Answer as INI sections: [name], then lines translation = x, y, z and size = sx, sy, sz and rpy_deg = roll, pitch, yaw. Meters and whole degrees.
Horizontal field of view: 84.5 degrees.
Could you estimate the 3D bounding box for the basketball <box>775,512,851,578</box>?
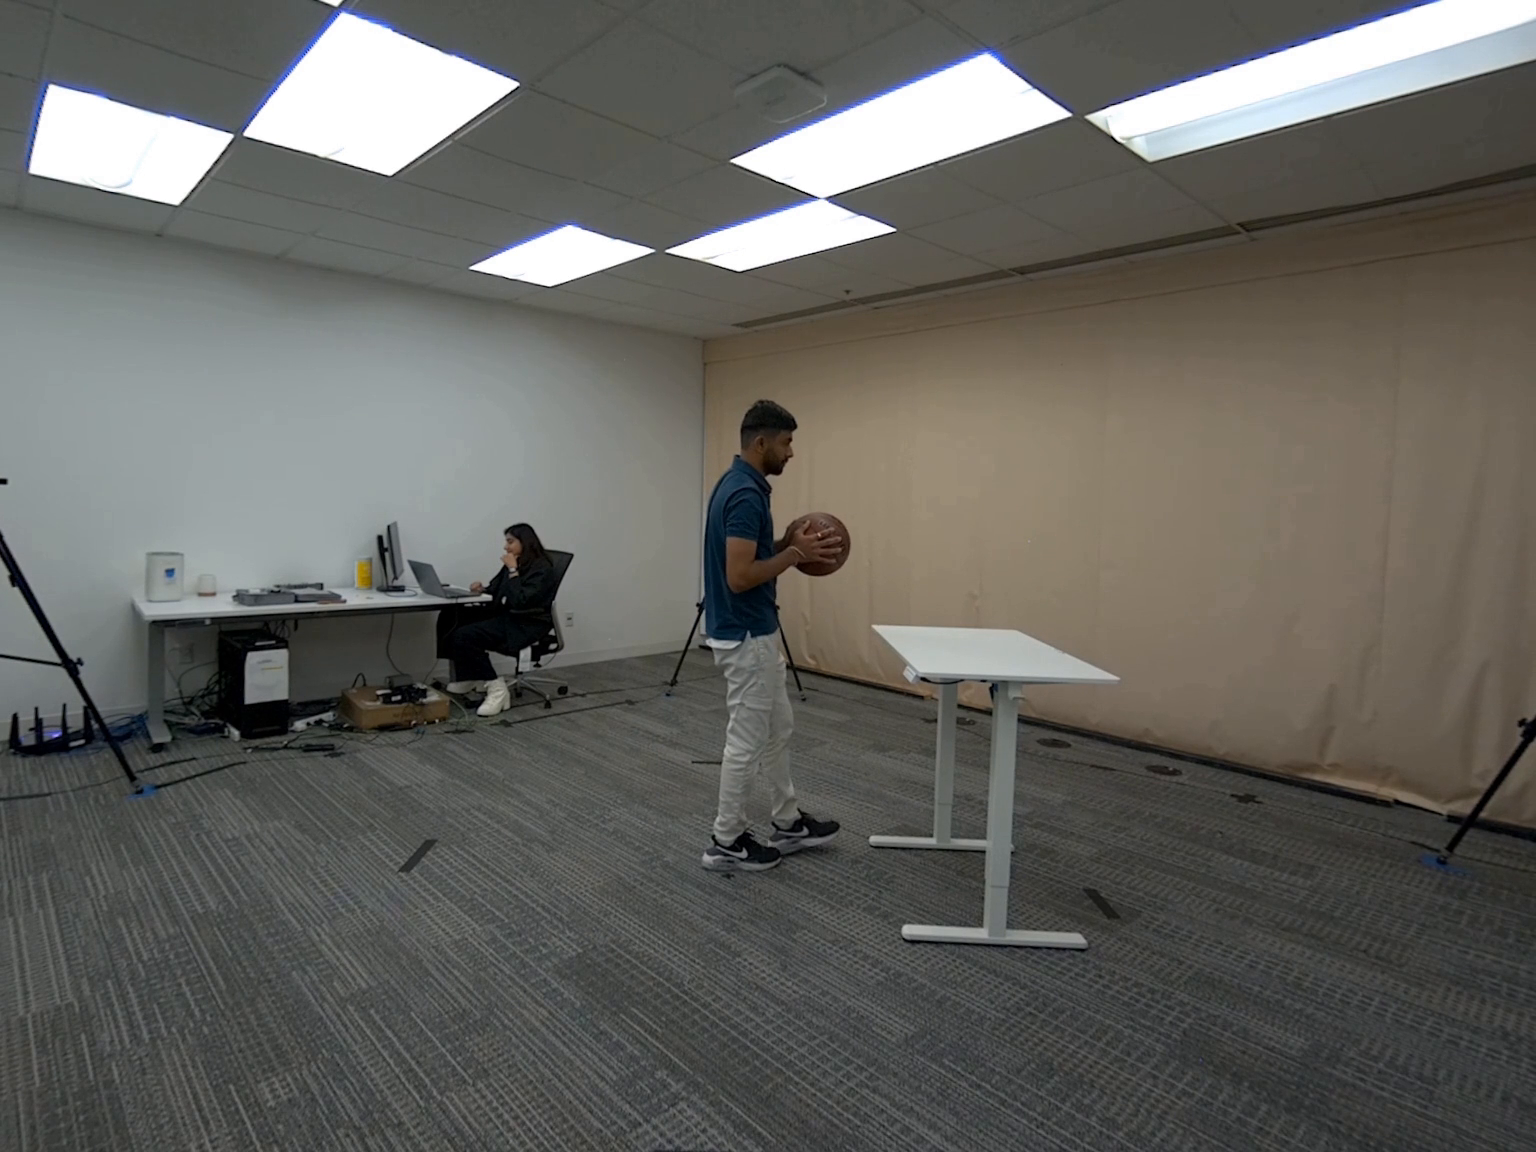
[basketball]
translation = 0.181, -0.120, 3.124
size = 0.236, 0.235, 0.237
rpy_deg = 1, 4, -1
